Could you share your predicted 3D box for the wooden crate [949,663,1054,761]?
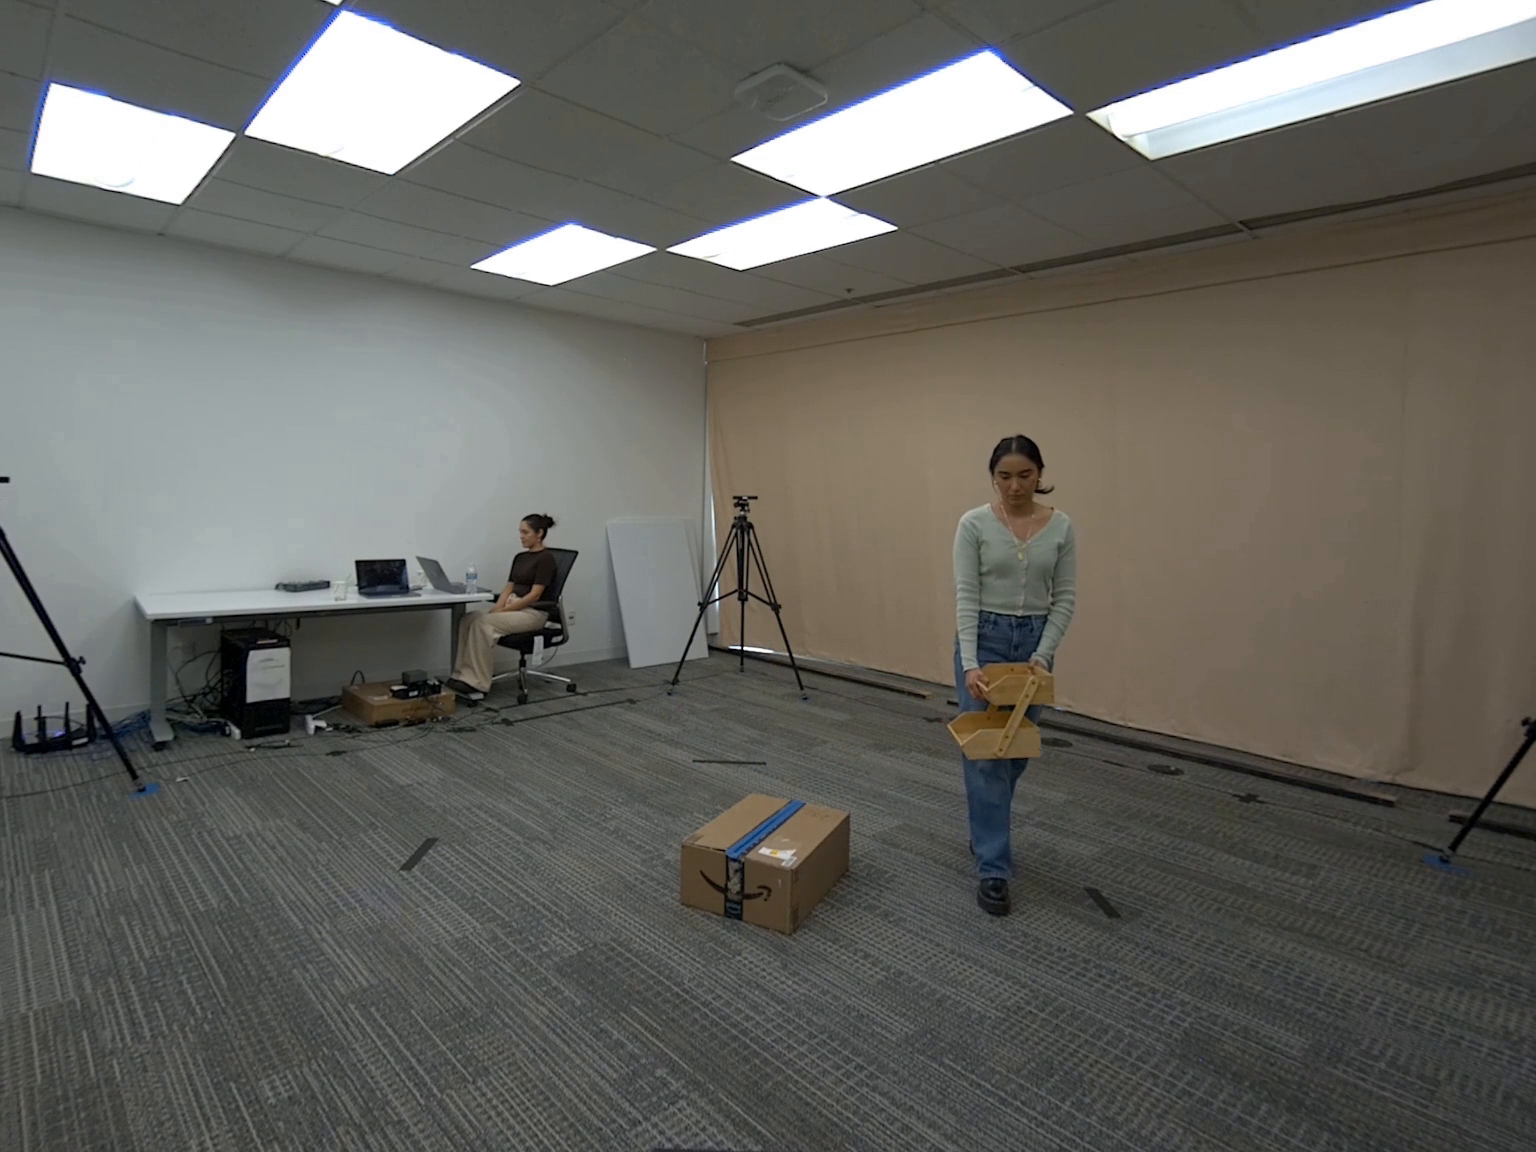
[{"bbox_3d":[0.738,0.438,2.845,0.303,0.273,0.323,-2,1,6],"label":"wooden crate"}]
